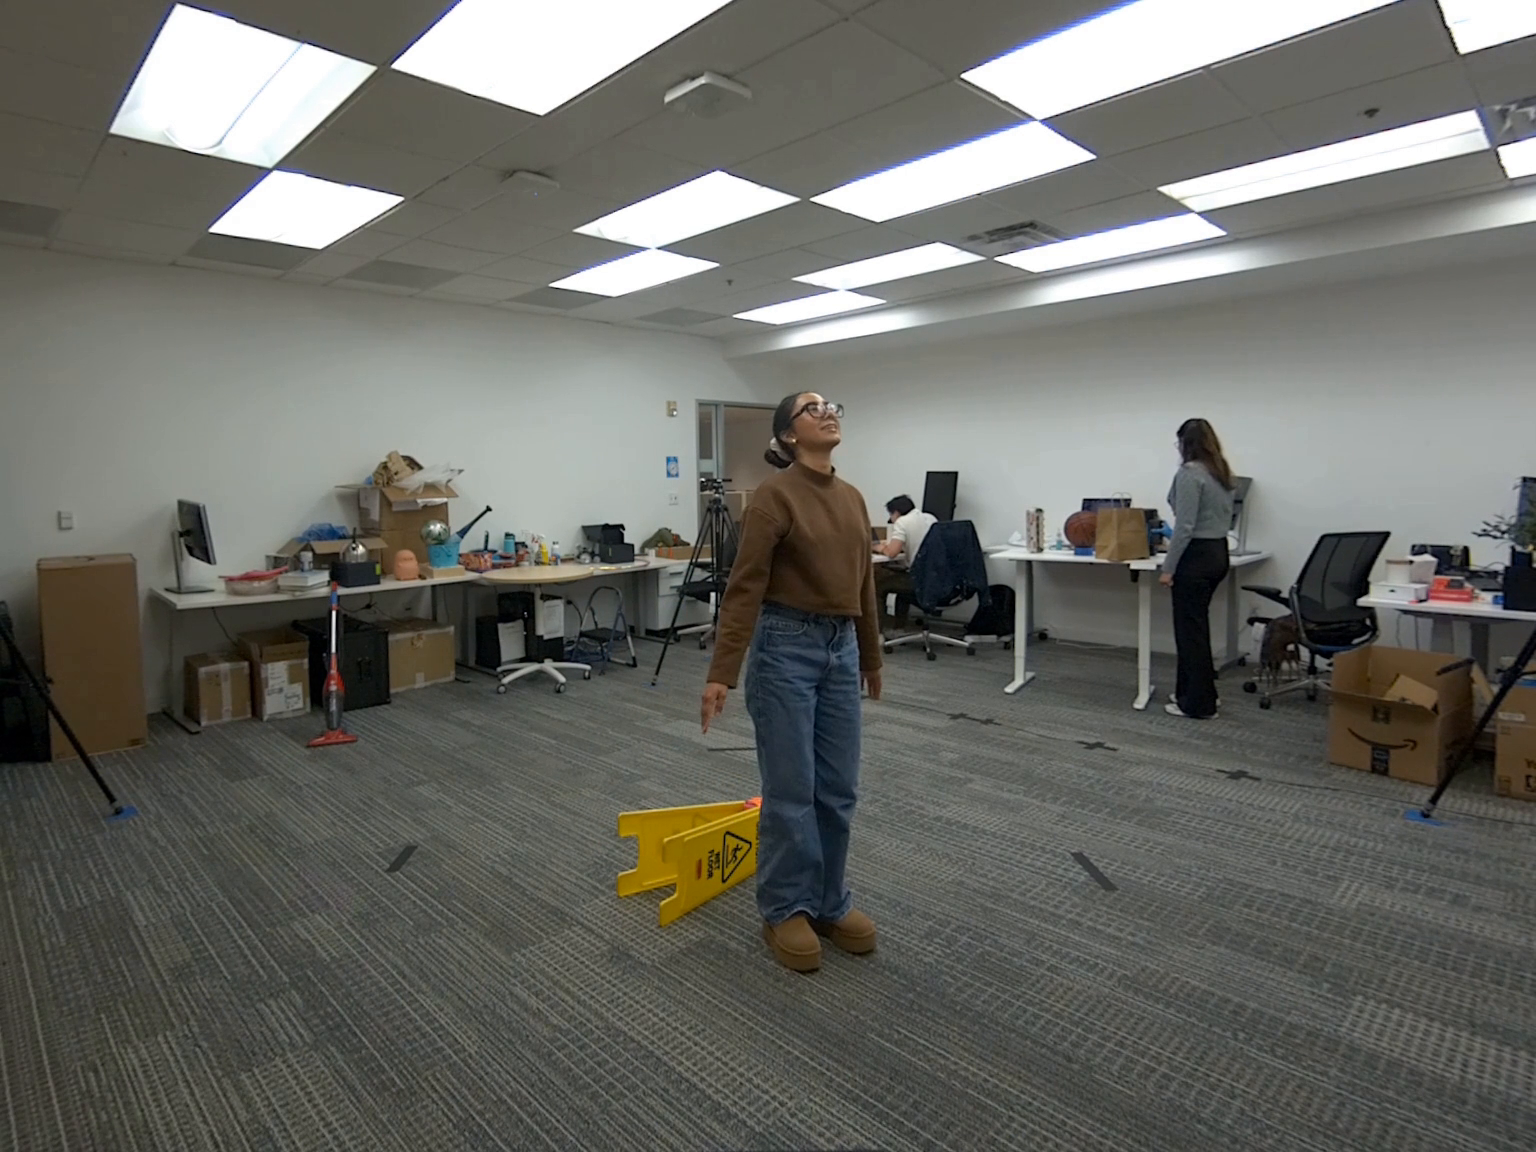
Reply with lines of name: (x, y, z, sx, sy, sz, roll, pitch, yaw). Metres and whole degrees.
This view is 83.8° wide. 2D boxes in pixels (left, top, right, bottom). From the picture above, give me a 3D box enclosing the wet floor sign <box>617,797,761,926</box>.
wet floor sign: (-0.178, 0.937, 2.969, 0.628, 0.281, 0.298, -3, 5, -40)
